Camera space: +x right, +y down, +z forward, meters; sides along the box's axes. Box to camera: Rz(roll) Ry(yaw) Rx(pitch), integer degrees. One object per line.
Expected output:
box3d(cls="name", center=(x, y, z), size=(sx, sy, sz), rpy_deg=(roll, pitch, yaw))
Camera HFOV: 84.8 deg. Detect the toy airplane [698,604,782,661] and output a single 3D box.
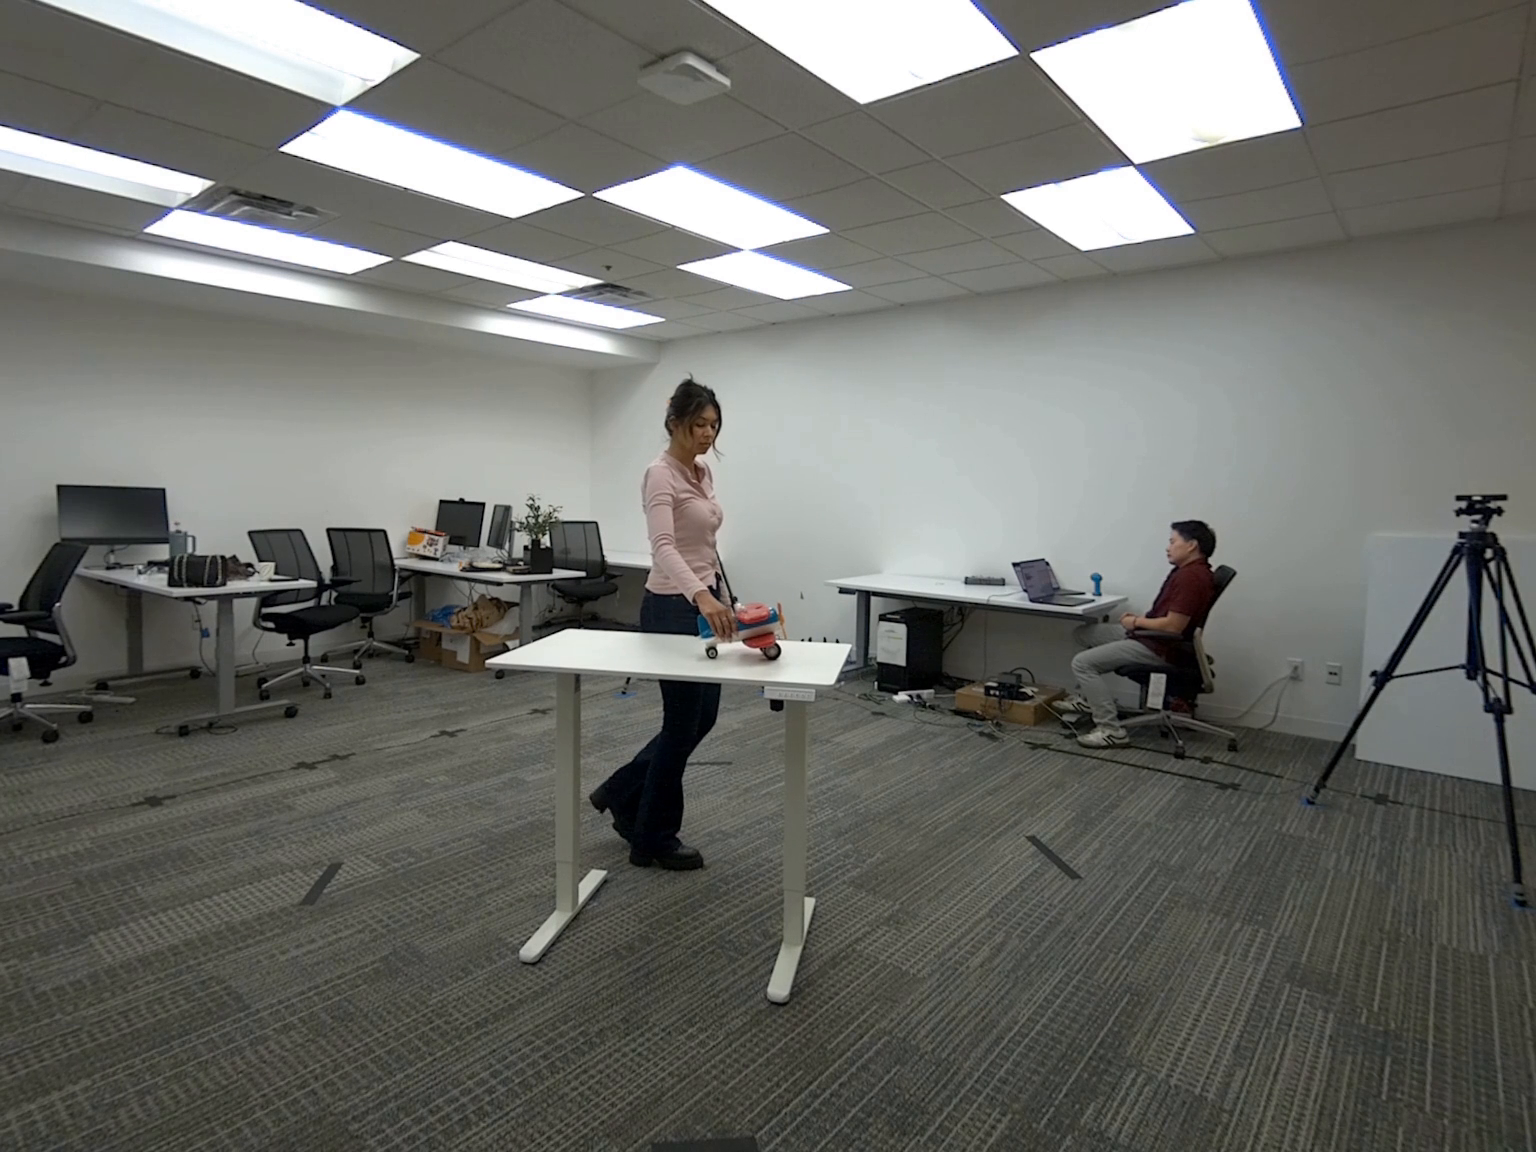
box3d(cls="toy airplane", center=(-0.082, 0.167, 2.532), size=(0.251, 0.156, 0.259), rpy_deg=(0, 3, -37))
